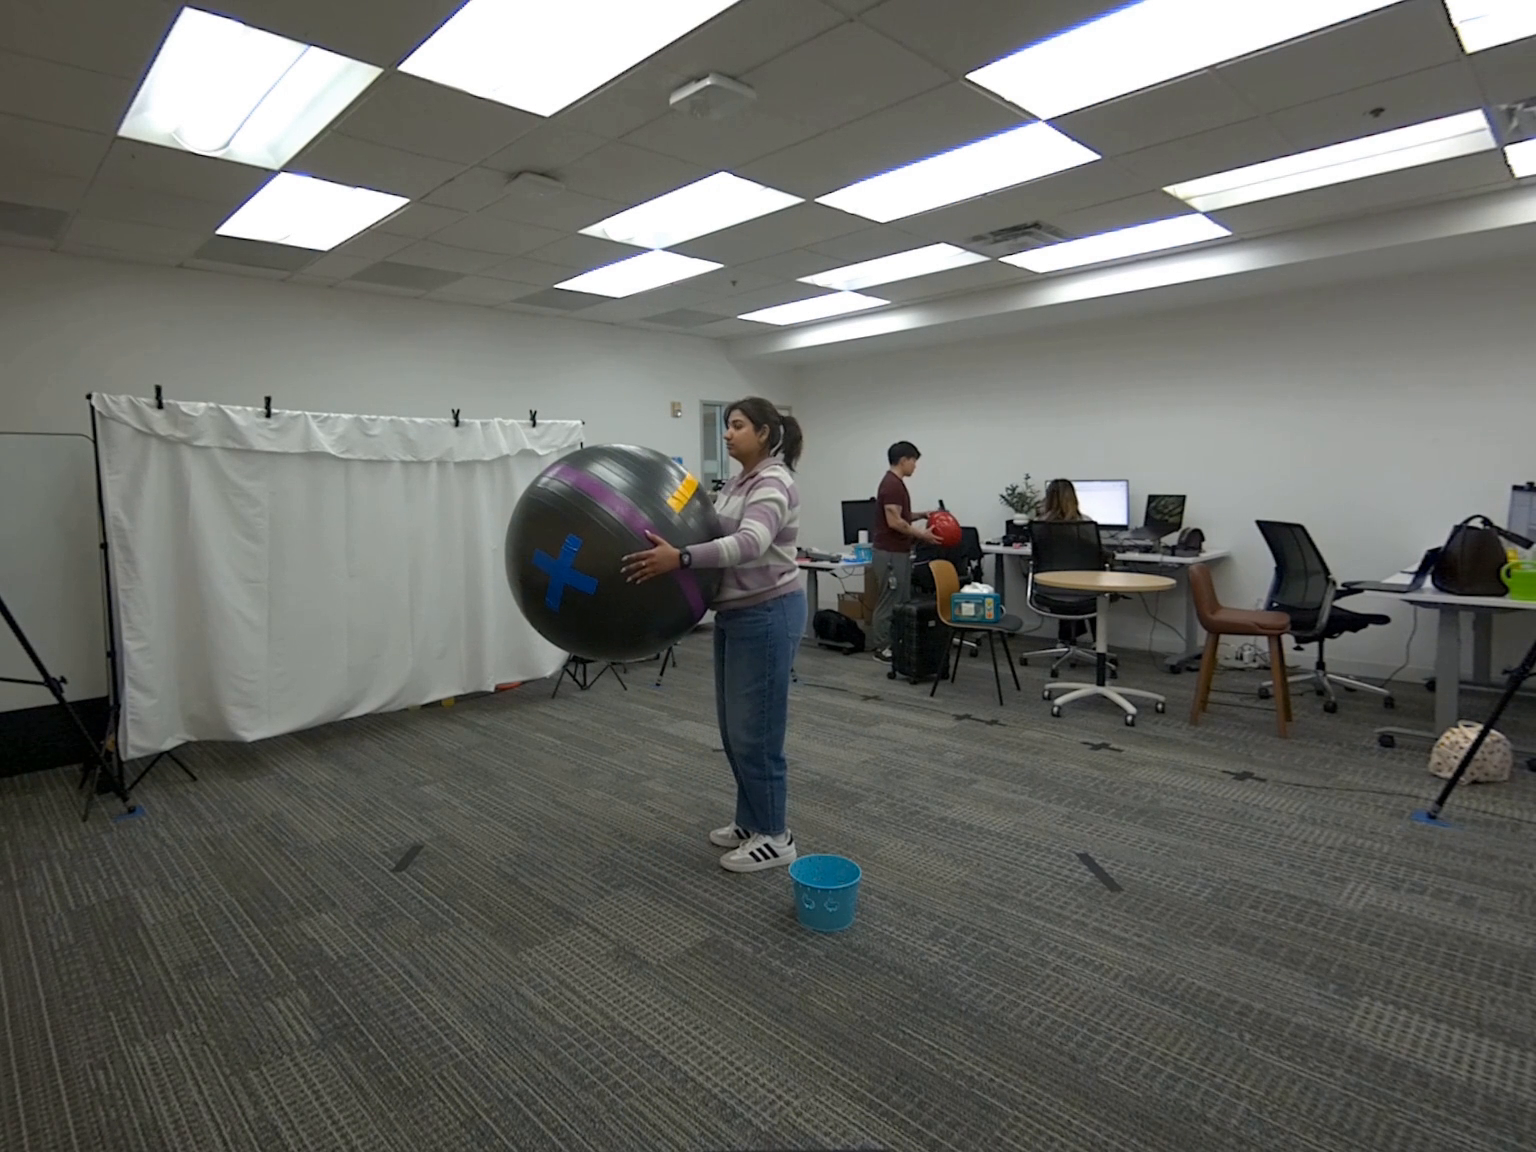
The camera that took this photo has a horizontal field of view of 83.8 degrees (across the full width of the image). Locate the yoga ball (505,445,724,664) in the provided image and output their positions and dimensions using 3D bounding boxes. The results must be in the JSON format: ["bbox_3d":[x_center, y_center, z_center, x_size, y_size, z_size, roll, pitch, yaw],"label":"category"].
[{"bbox_3d":[-0.534,-0.077,2.977,0.757,0.755,0.762,-1,5,-2],"label":"yoga ball"}]
